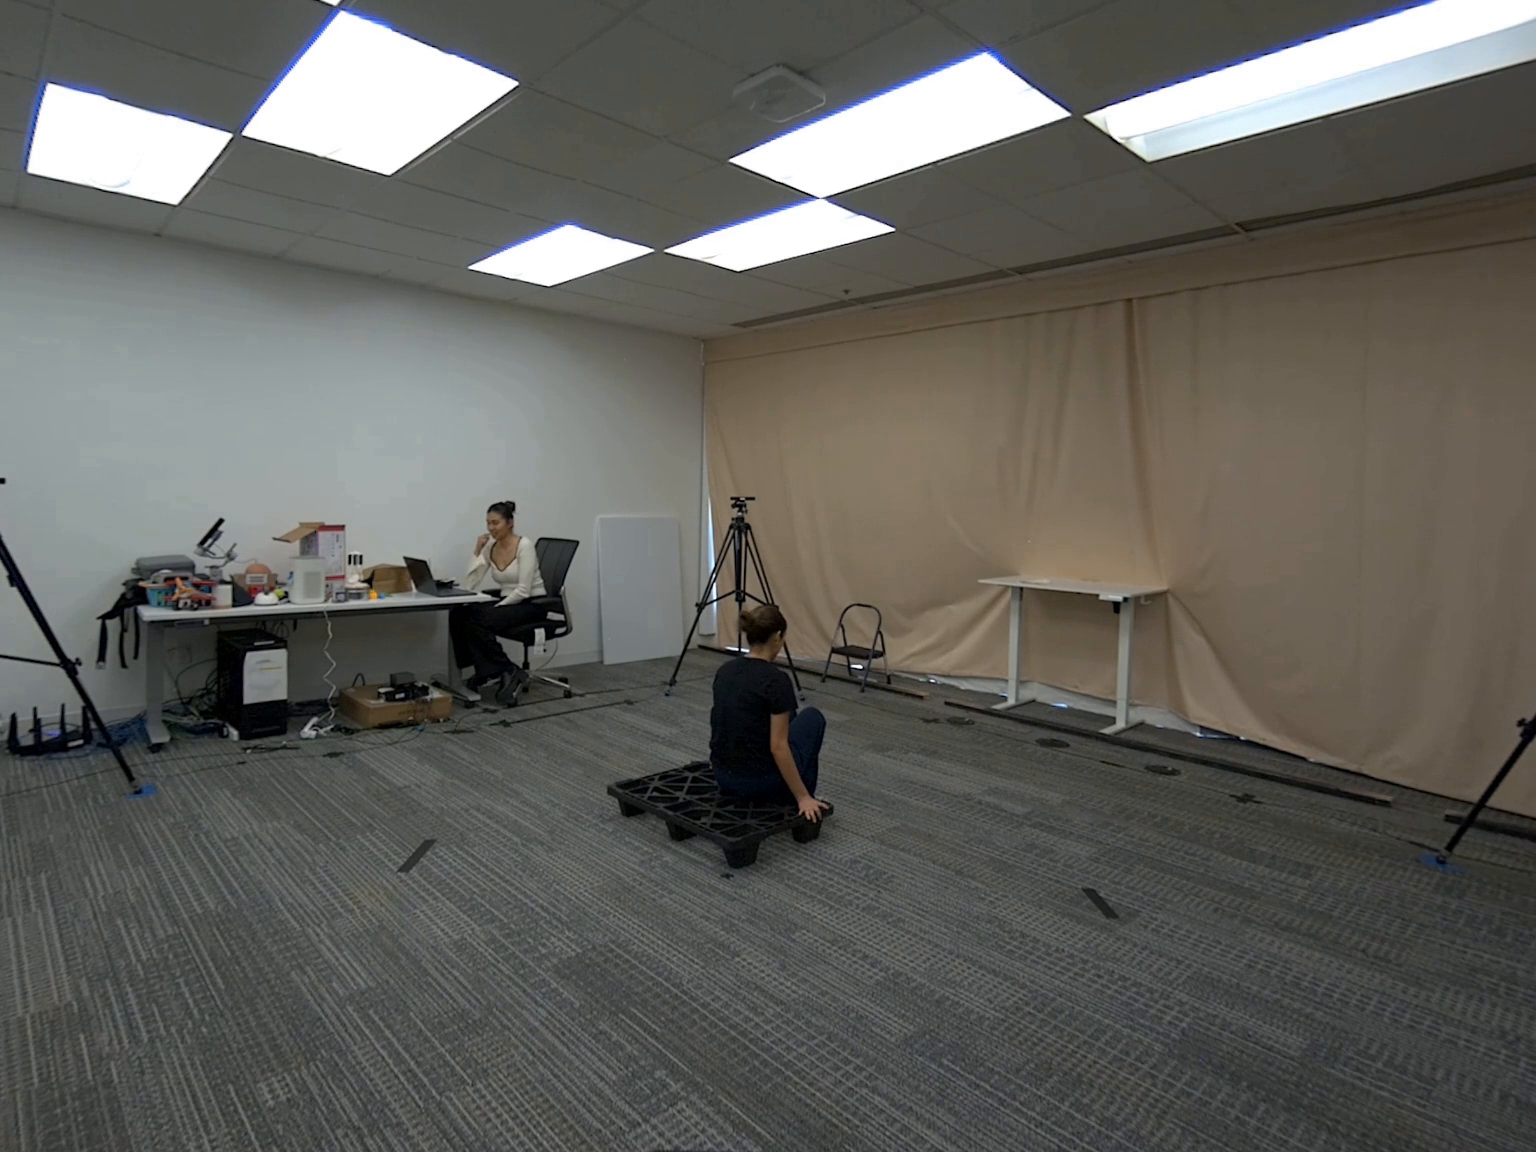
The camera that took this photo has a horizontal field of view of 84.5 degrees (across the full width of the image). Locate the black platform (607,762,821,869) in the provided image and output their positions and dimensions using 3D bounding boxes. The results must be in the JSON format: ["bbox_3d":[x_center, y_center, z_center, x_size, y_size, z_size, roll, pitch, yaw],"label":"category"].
[{"bbox_3d":[-0.225,0.999,3.552,0.591,0.143,0.826,-5,7,-45],"label":"black platform"}]
